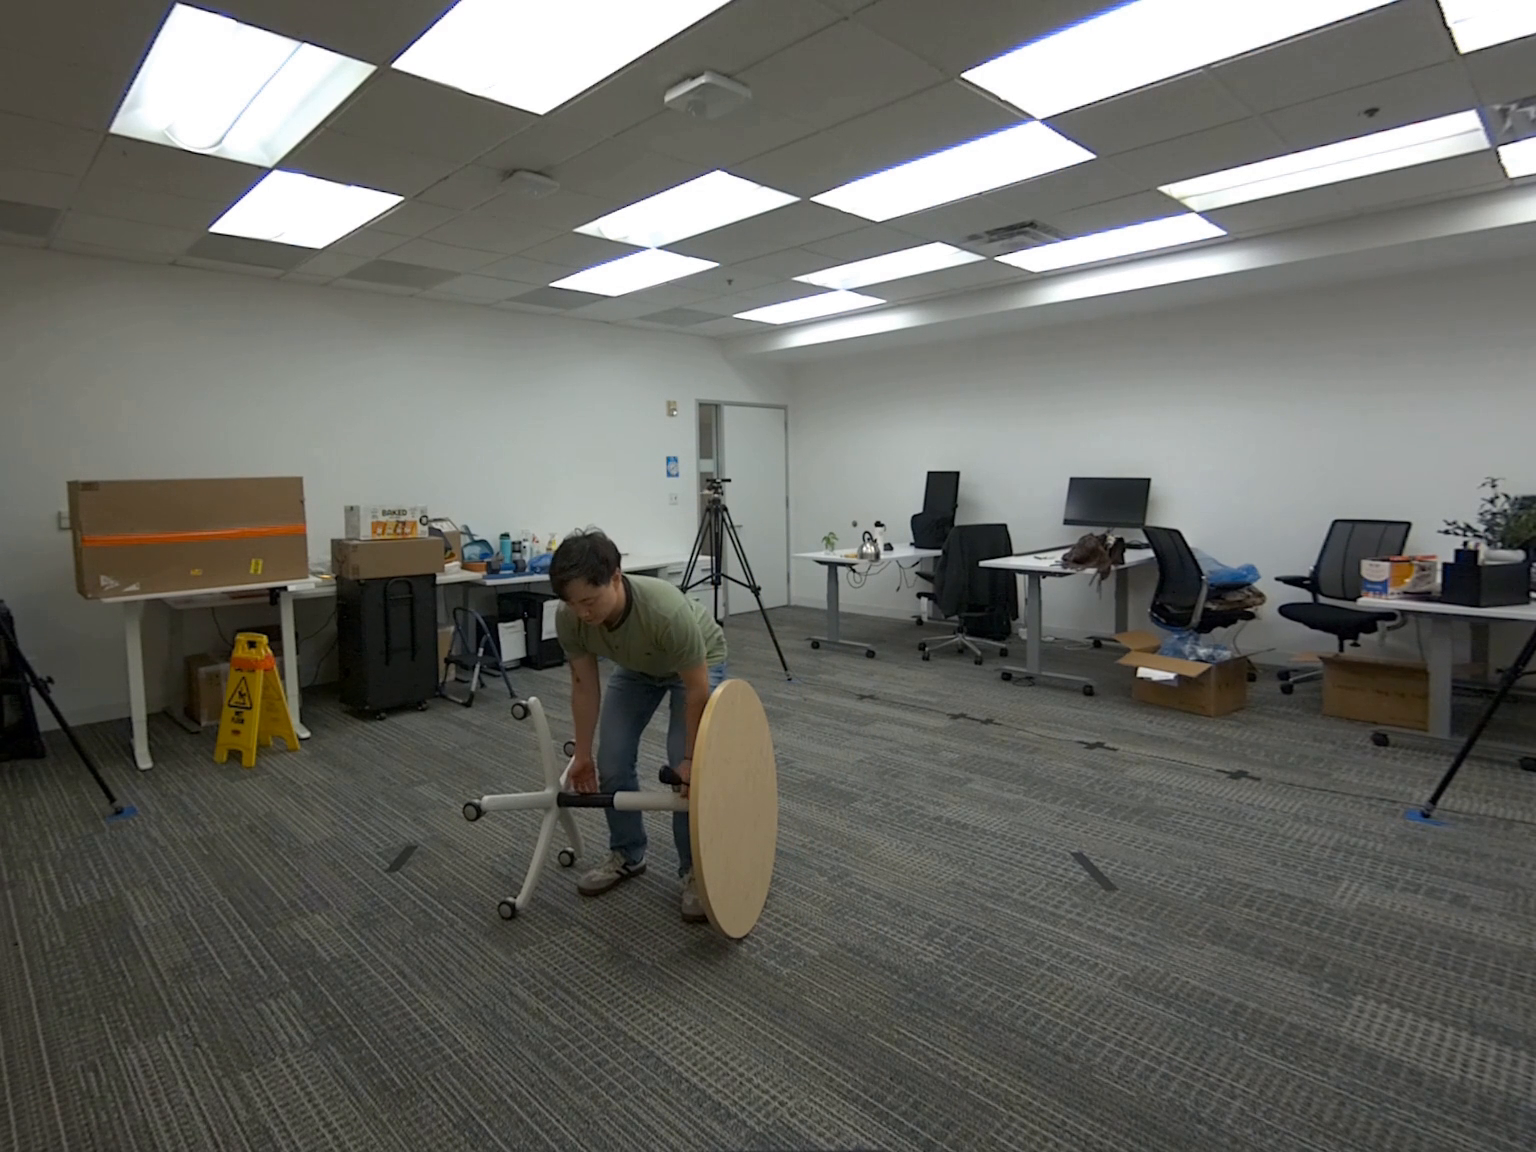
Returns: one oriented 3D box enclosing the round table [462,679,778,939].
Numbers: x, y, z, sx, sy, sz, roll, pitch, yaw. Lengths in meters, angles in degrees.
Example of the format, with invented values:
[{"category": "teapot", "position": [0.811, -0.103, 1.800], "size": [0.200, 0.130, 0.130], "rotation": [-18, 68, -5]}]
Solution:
[{"category": "round table", "position": [-0.463, 0.741, 2.797], "size": [0.806, 0.762, 0.754], "rotation": [-6, 3, 17]}]
